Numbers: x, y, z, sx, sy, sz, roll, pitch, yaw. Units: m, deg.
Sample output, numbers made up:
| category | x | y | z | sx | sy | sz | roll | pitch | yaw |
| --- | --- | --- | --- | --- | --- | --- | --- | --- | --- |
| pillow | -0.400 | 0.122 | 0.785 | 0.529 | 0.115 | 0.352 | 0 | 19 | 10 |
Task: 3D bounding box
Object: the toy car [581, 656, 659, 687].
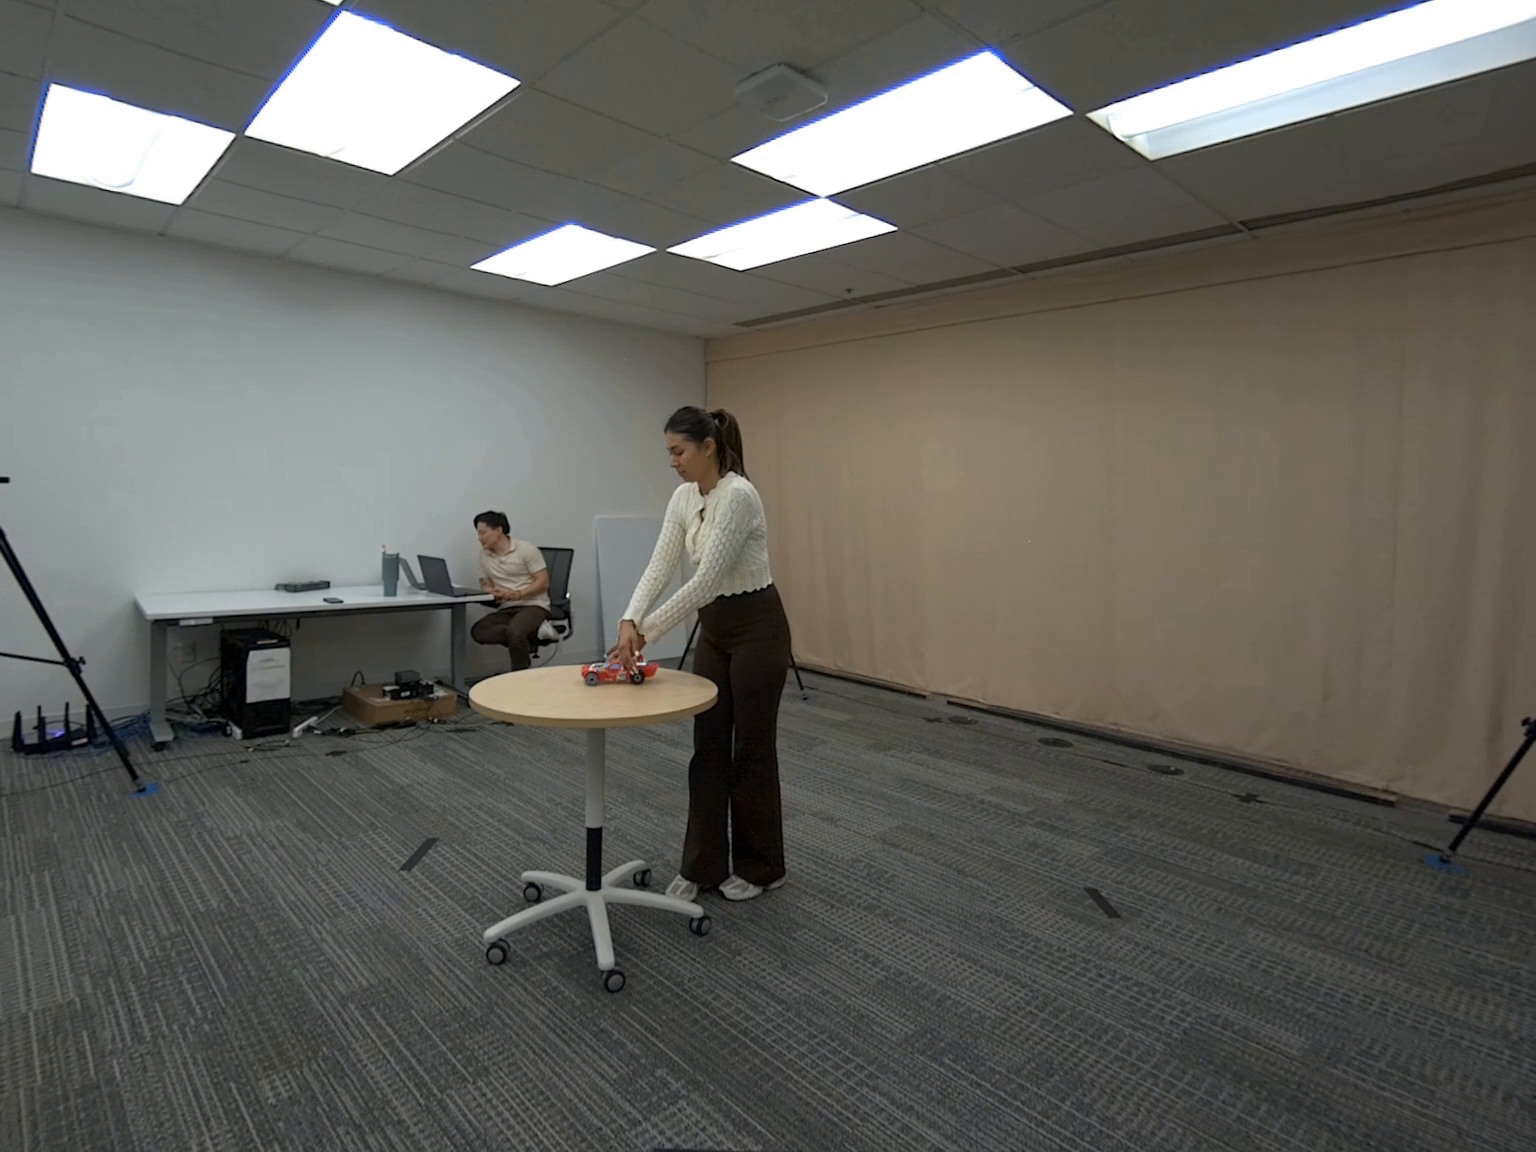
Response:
| category | x | y | z | sx | sy | sz | roll | pitch | yaw |
| --- | --- | --- | --- | --- | --- | --- | --- | --- | --- |
| toy car | -0.489 | 0.314 | 2.735 | 0.253 | 0.083 | 0.132 | -10 | 6 | -10 |
